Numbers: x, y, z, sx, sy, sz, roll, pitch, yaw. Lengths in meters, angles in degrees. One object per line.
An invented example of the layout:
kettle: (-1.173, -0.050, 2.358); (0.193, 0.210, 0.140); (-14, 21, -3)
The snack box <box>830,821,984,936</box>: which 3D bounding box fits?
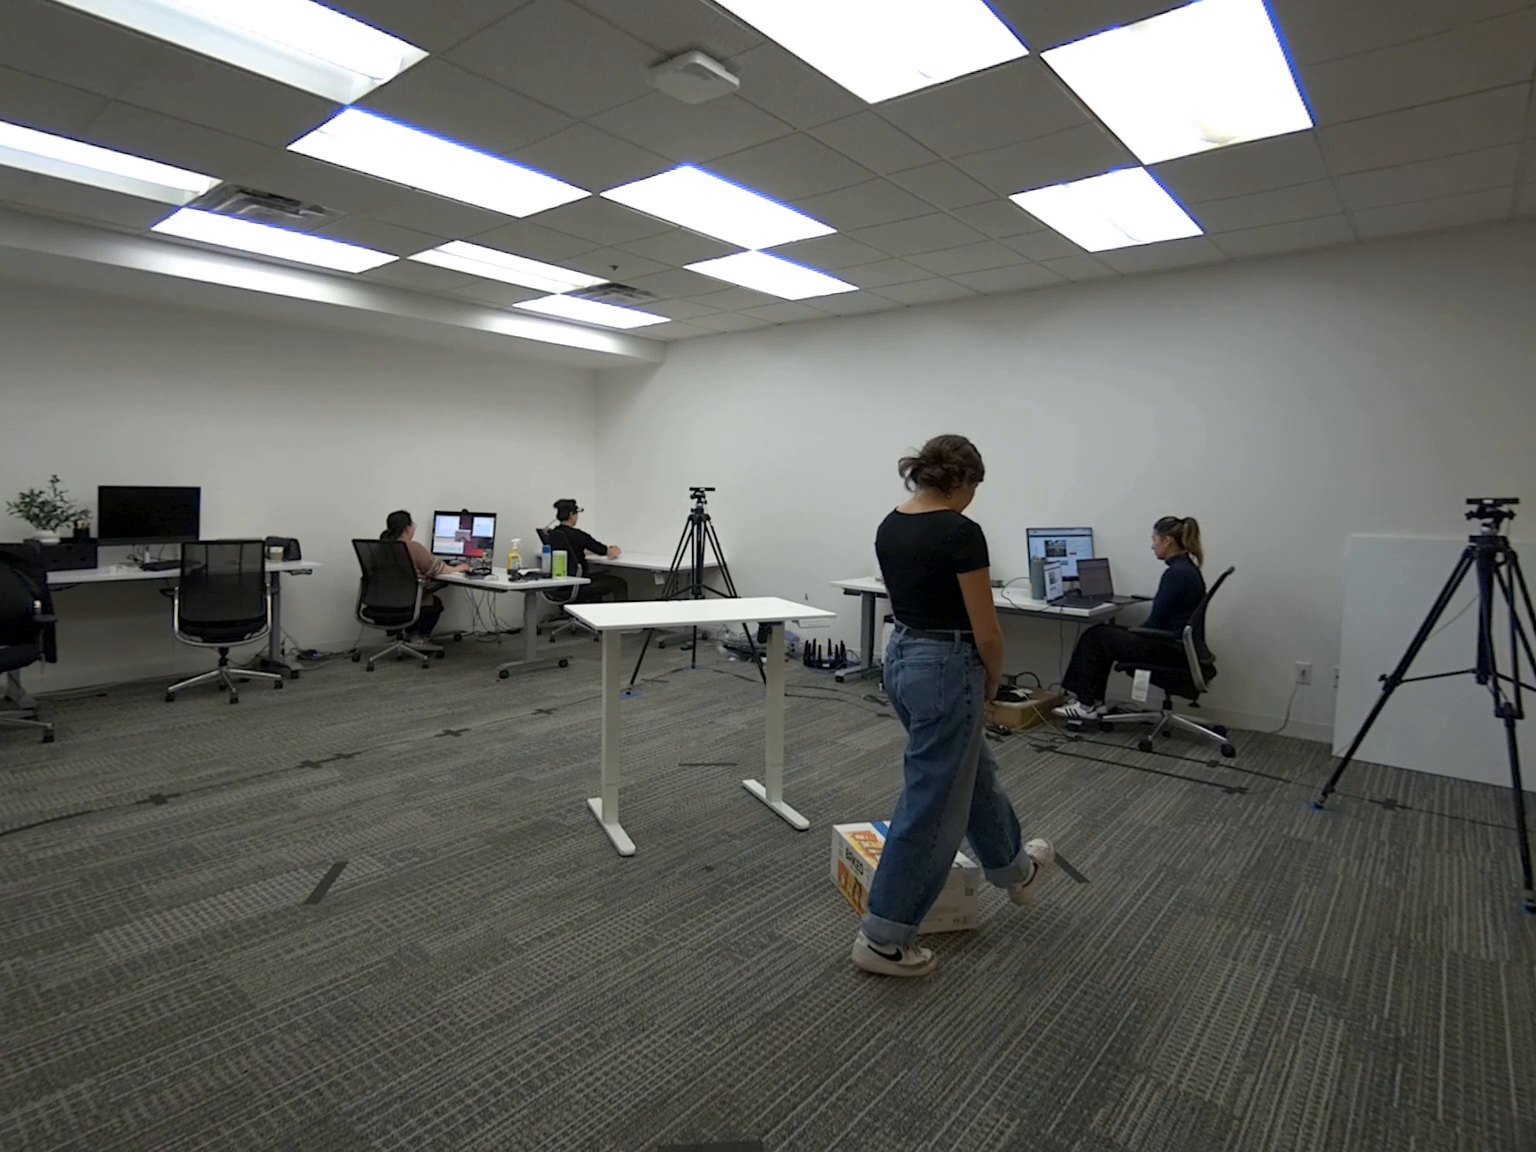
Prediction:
snack box: (0.444, 1.004, 2.869); (0.335, 0.205, 0.413); (0, 6, -16)
